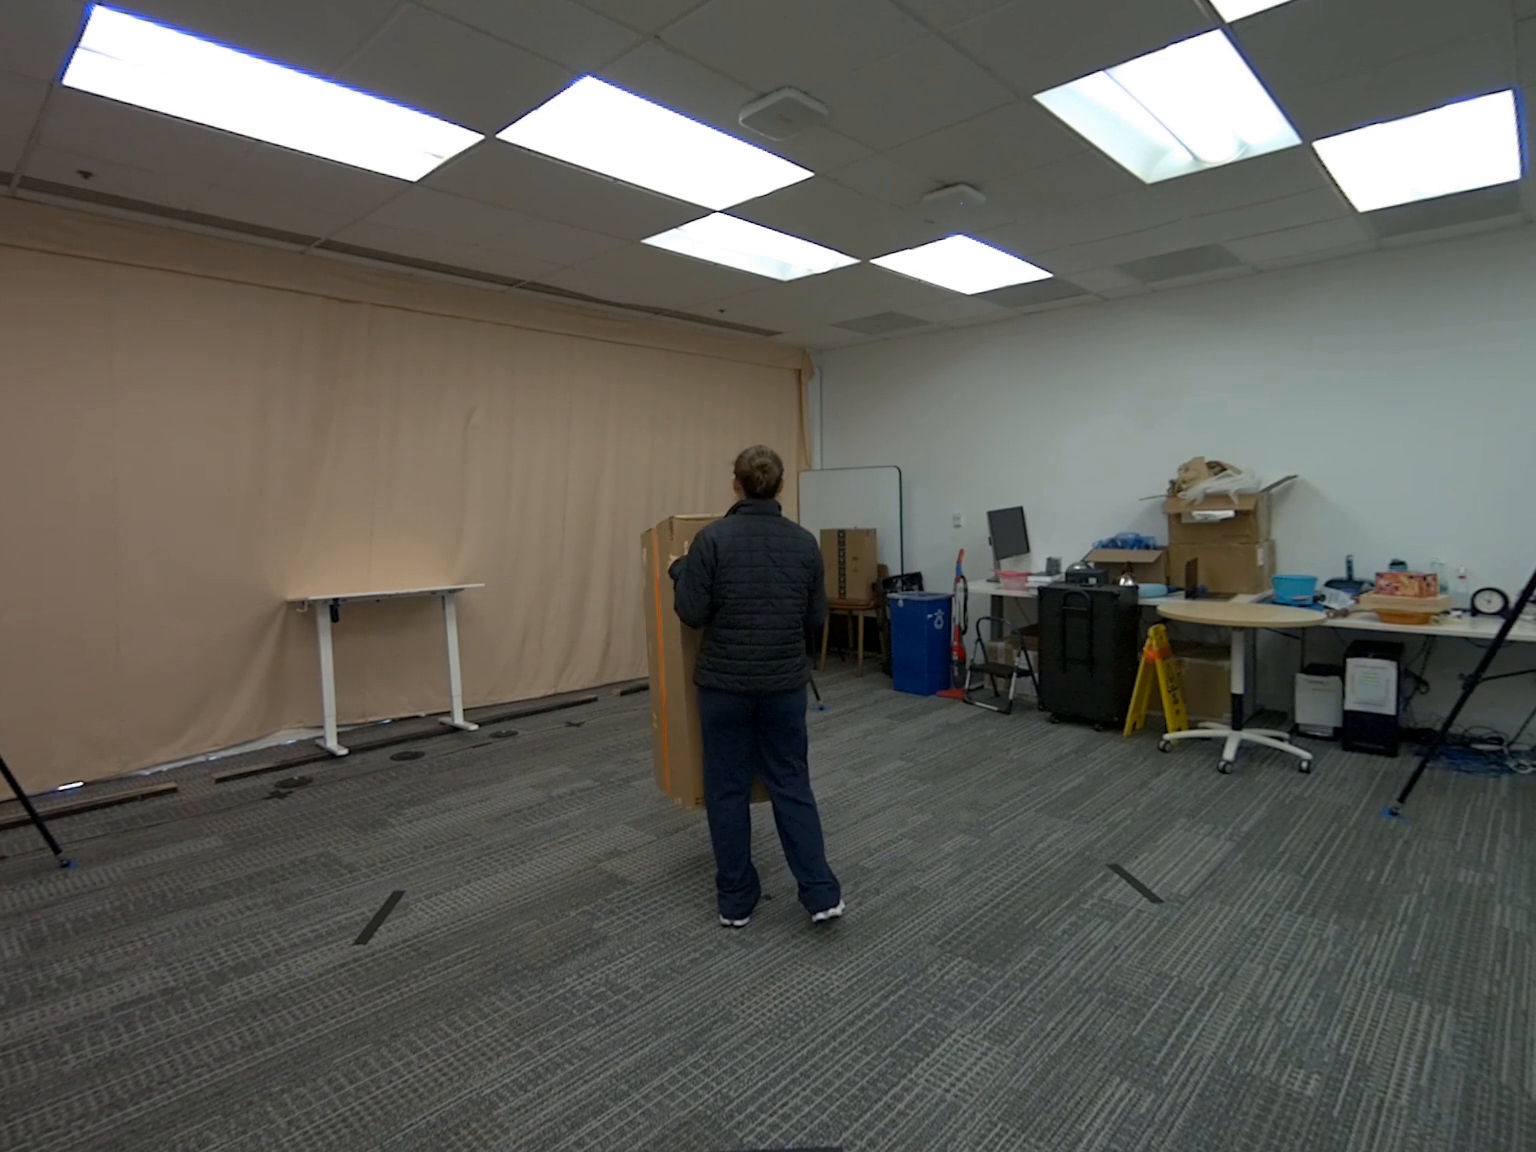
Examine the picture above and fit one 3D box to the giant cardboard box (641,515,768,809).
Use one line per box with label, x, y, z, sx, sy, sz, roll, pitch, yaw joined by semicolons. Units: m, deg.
giant cardboard box;-0.180;0.309;3.252;0.418;1.029;0.586;-2;-5;-19
